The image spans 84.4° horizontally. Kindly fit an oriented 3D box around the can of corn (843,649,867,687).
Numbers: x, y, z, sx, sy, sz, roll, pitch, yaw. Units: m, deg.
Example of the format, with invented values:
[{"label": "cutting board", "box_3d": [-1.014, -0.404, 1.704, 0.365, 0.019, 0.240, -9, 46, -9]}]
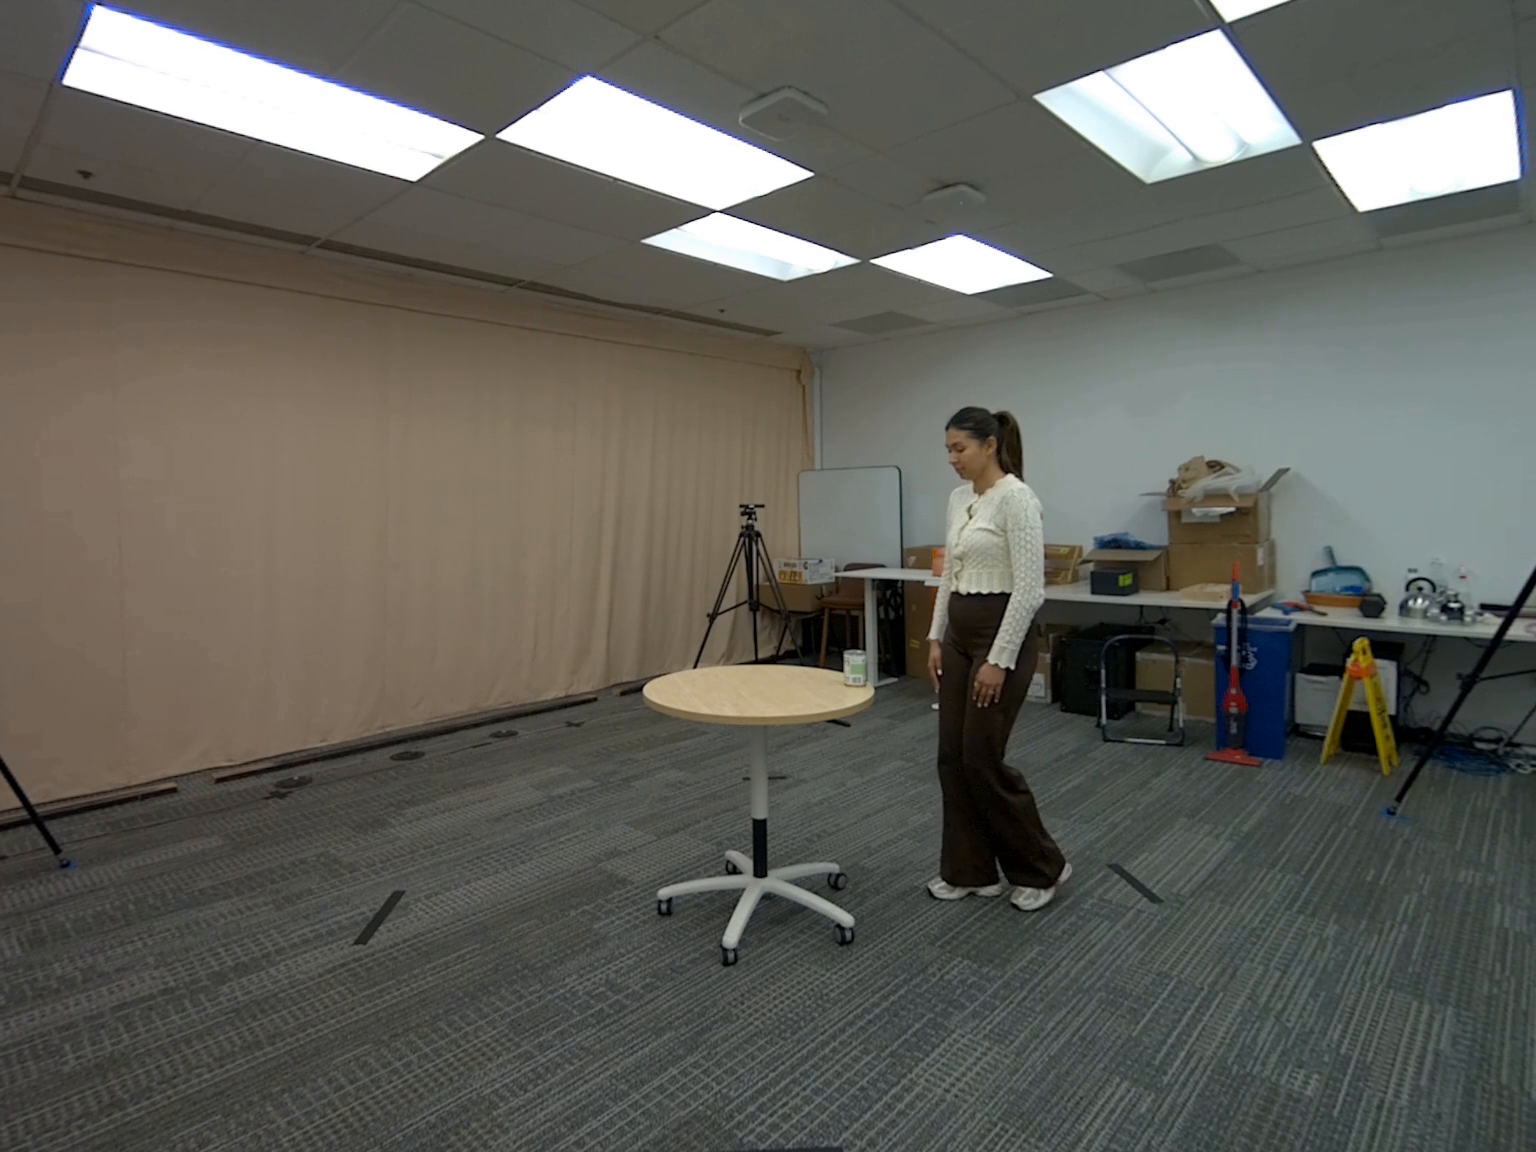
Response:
[{"label": "can of corn", "box_3d": [0.303, 0.315, 2.824, 0.074, 0.111, 0.074, 0, 5, -2]}]
